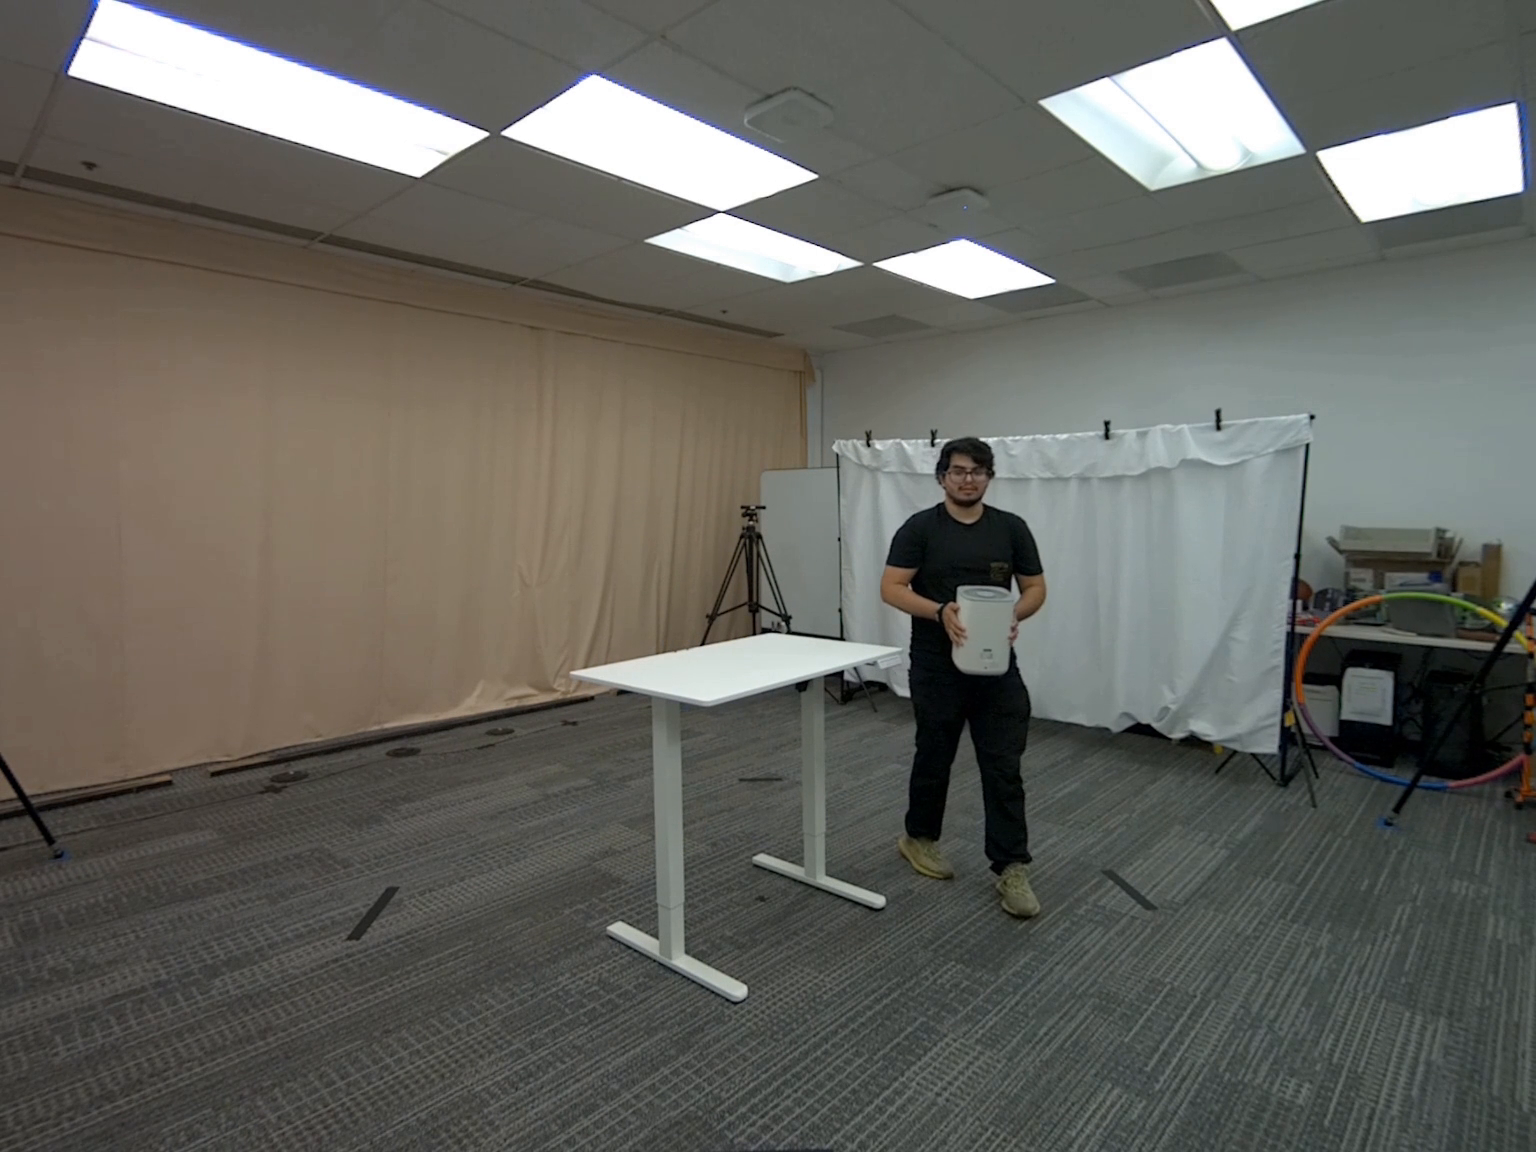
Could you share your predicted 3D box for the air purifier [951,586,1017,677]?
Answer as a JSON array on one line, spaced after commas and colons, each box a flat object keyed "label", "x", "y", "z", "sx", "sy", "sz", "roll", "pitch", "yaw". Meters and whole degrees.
[{"label": "air purifier", "x": 0.718, "y": 0.182, "z": 2.810, "sx": 0.172, "sy": 0.263, "sz": 0.172, "roll": 2, "pitch": 13, "yaw": 3}]
